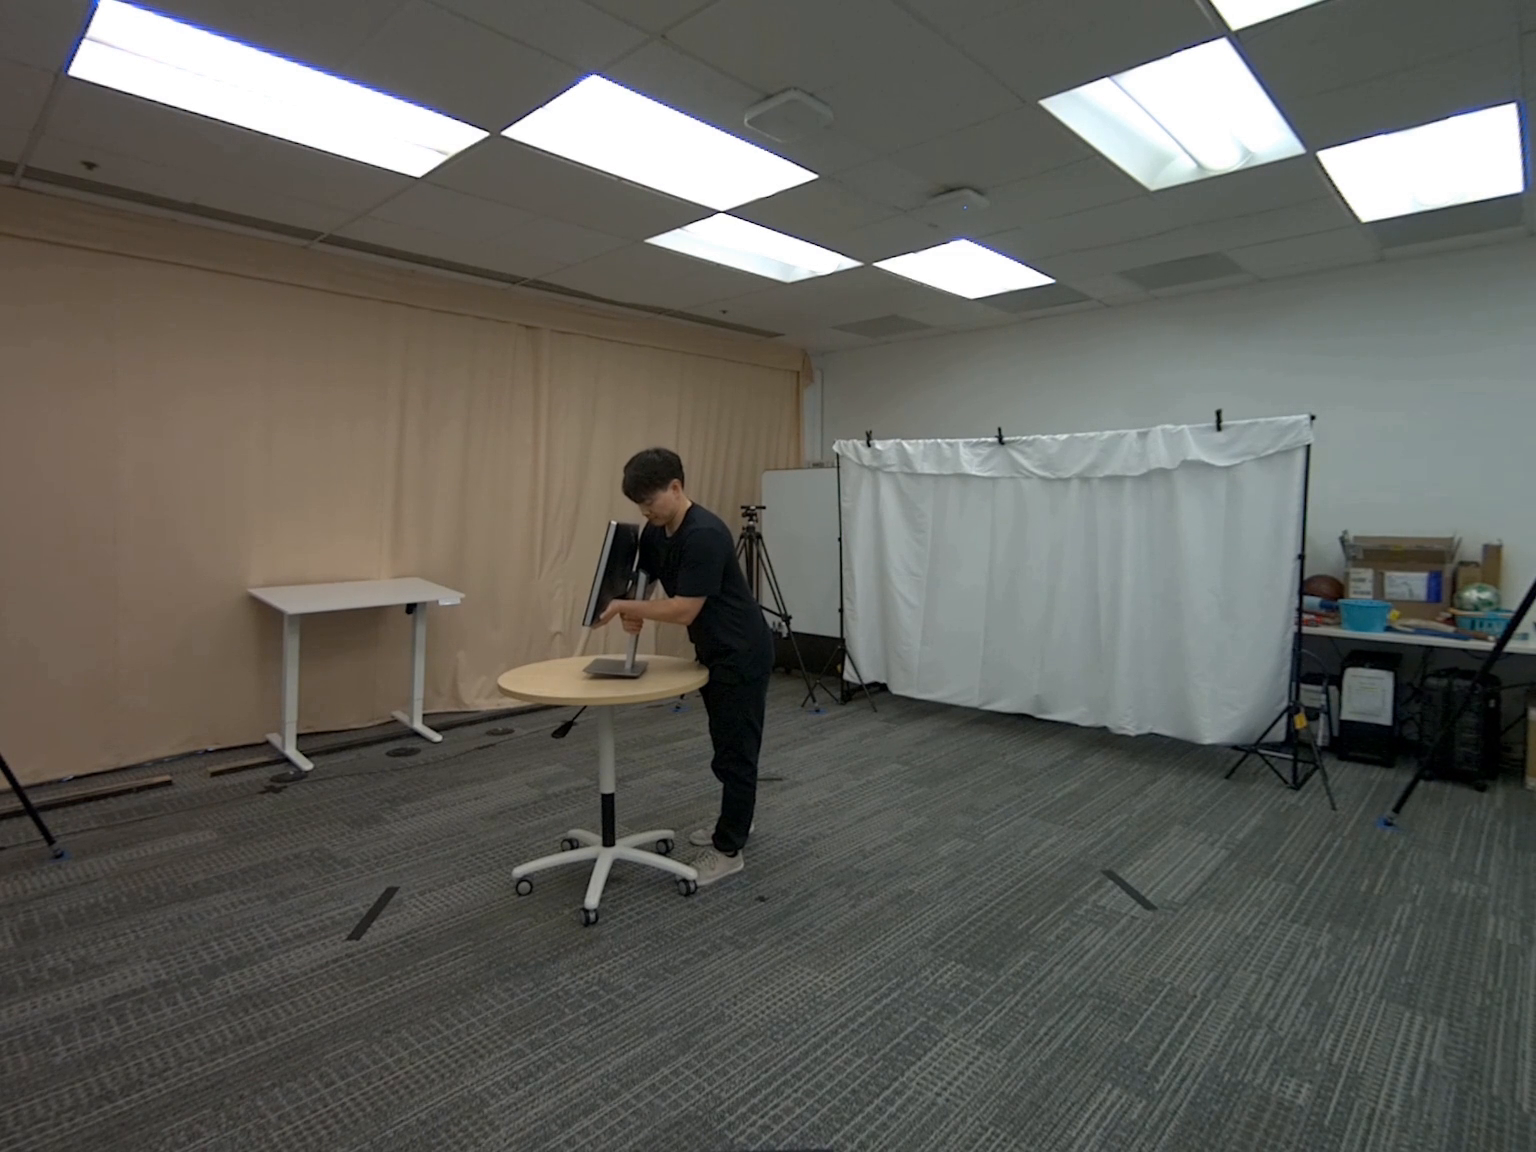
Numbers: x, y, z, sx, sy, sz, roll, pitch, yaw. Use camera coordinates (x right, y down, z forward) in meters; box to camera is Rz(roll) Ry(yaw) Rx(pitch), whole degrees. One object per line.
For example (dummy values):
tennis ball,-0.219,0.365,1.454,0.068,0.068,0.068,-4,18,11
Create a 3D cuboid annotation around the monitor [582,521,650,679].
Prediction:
monitor,-0.528,0.090,3.062,0.186,0.522,0.541,3,3,-4
